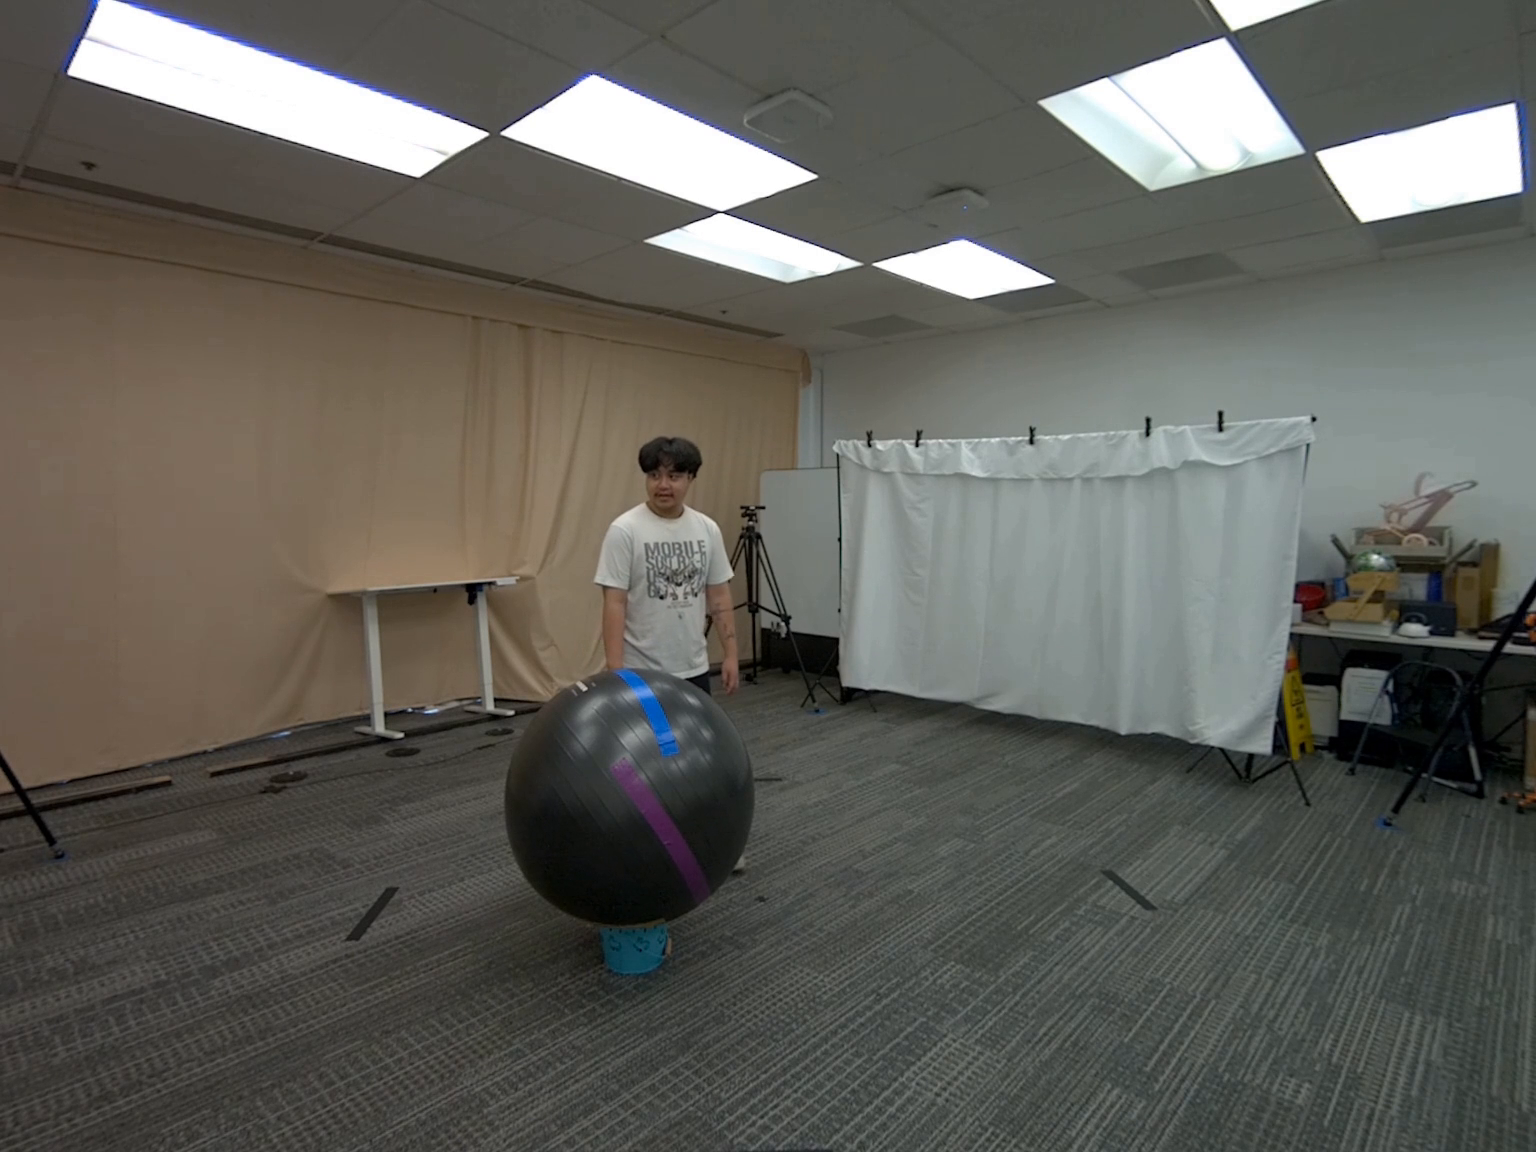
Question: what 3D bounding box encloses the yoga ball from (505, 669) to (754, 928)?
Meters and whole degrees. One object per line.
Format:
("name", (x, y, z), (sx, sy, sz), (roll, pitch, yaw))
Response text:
("yoga ball", (-0.416, 0.670, 2.578), (0.757, 0.756, 0.760), (0, 4, -2))
